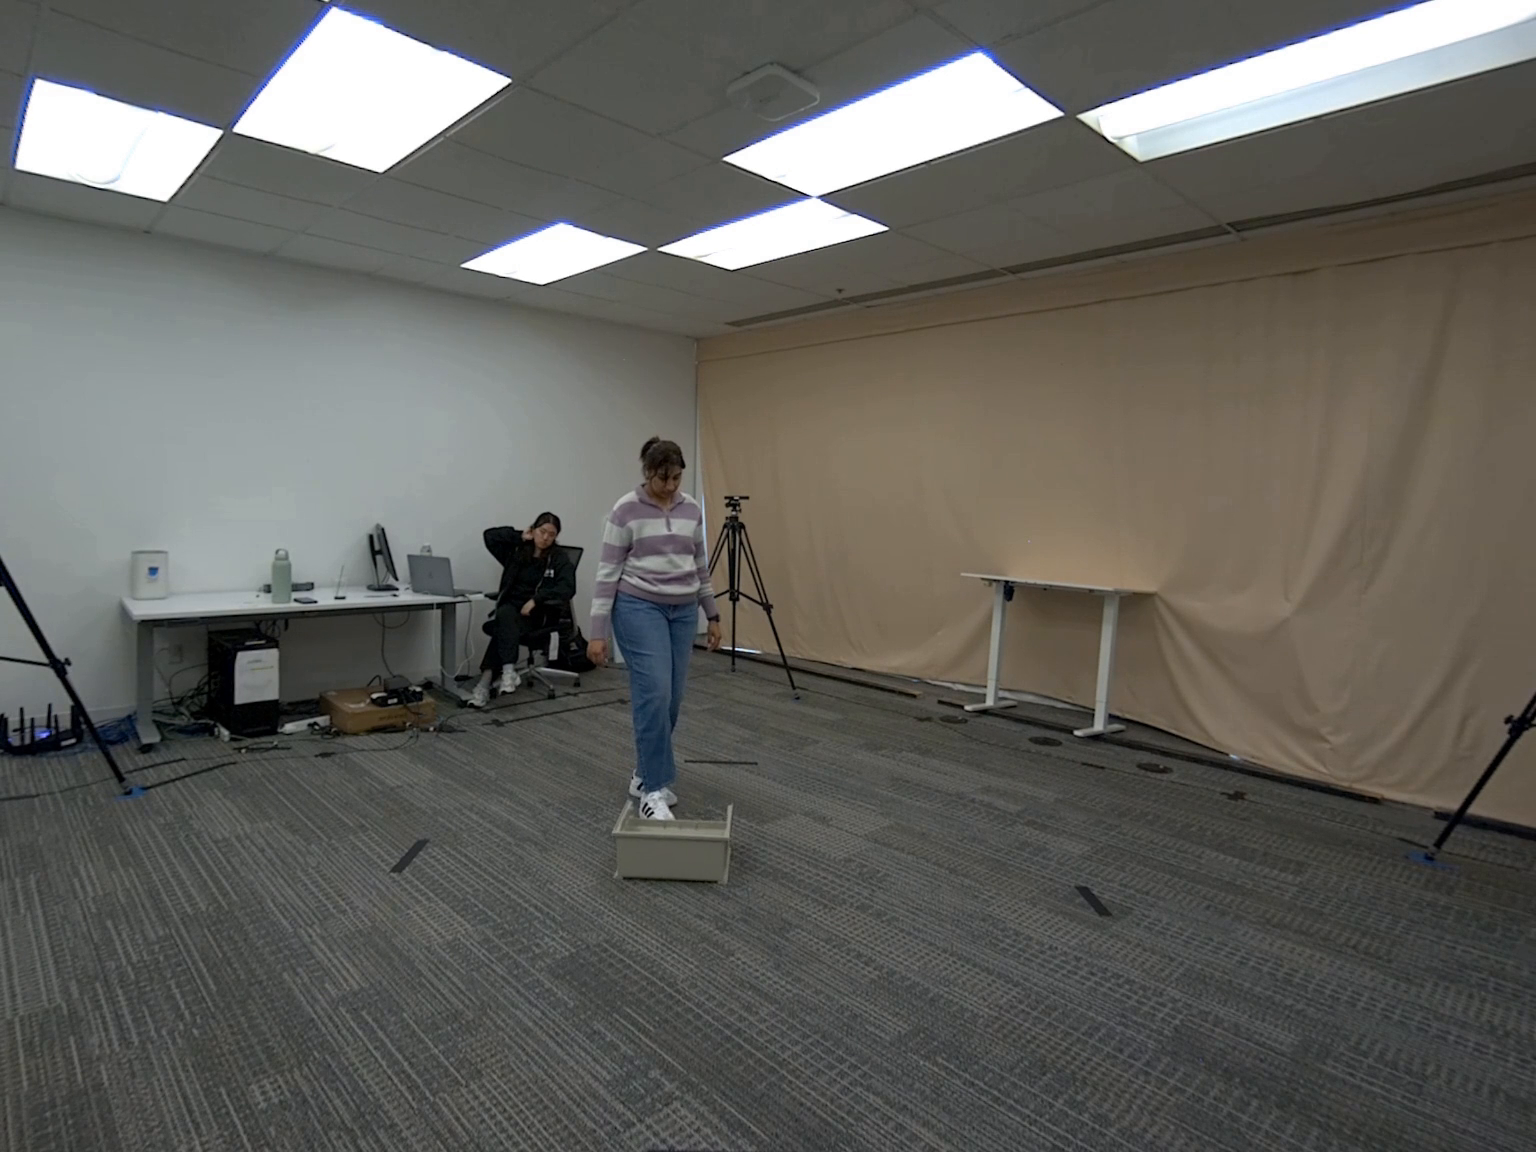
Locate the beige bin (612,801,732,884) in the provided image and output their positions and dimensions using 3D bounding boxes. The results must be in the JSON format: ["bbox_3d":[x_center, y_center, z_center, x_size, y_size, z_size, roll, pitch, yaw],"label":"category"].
[{"bbox_3d":[-0.359,1.002,3.205,0.423,0.188,0.378,2,5,0],"label":"beige bin"}]
